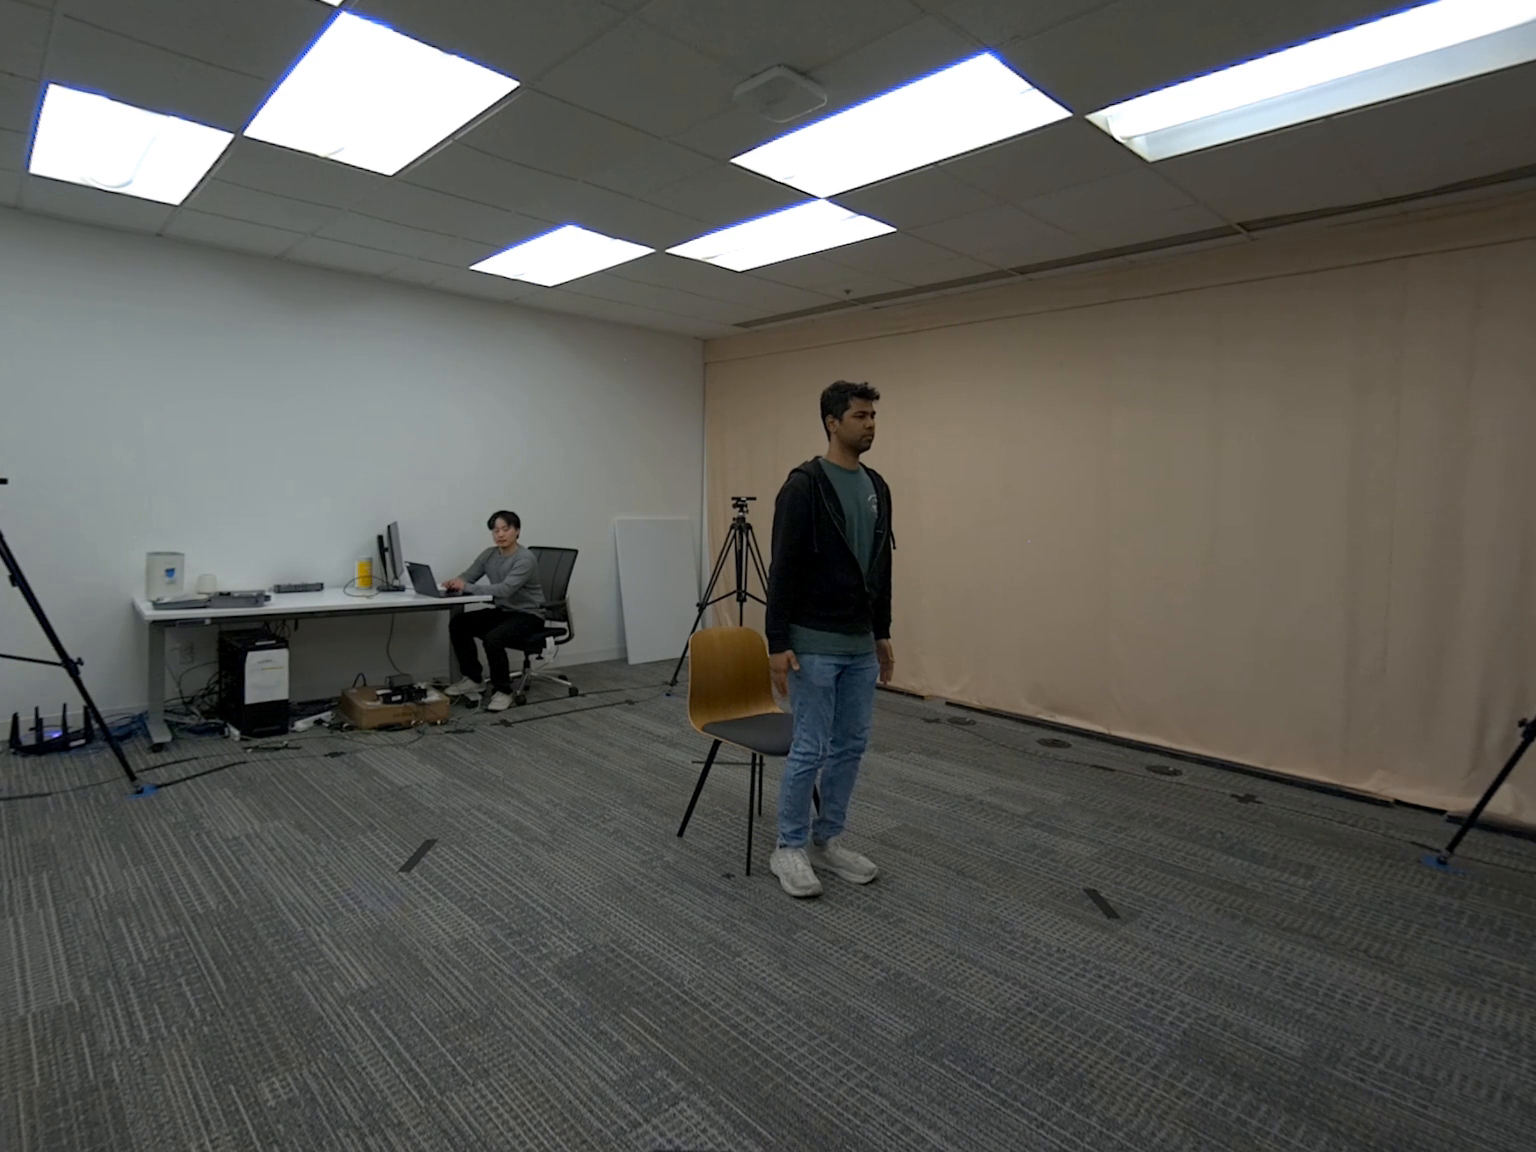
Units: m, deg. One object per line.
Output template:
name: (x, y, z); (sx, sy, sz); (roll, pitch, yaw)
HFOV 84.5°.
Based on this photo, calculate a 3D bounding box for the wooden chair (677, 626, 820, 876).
wooden chair: (-0.050, 0.660, 3.388); (0.467, 0.877, 0.535); (-1, 0, -39)
